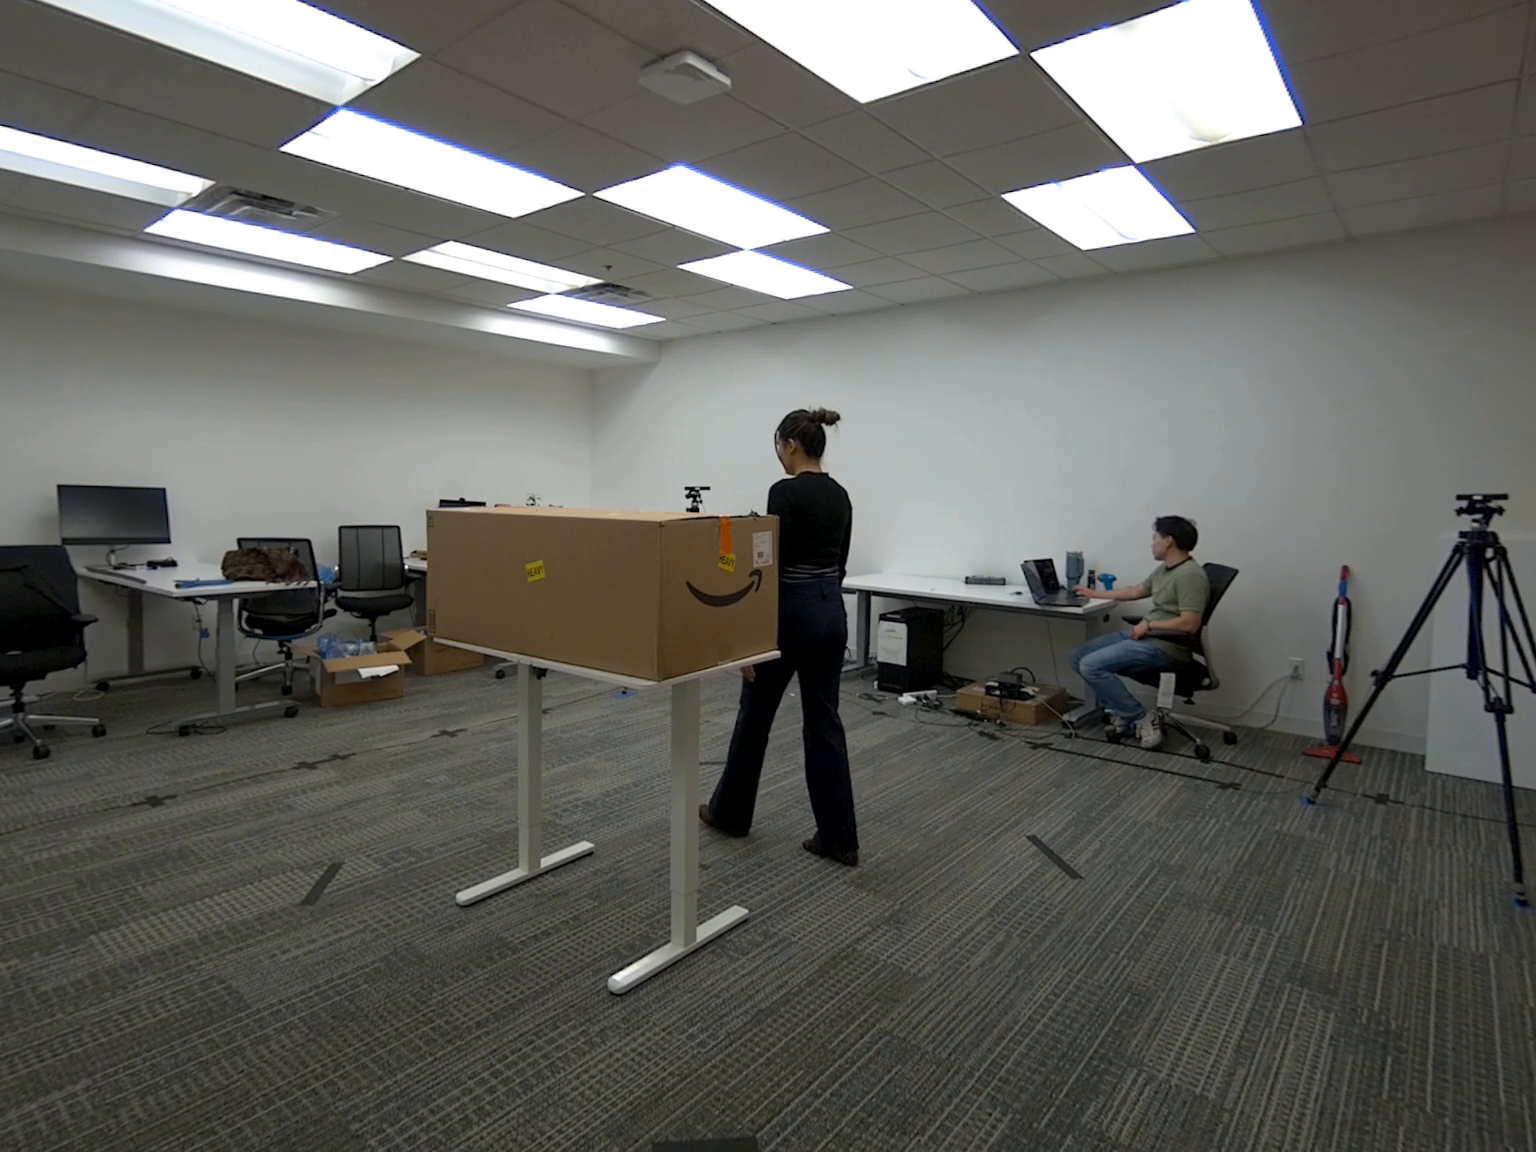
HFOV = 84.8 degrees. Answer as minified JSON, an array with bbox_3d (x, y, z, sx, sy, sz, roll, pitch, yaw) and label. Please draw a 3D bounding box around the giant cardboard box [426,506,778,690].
[{"bbox_3d":[-0.548,0.002,2.748,1.060,0.424,0.561,5,7,36],"label":"giant cardboard box"}]
